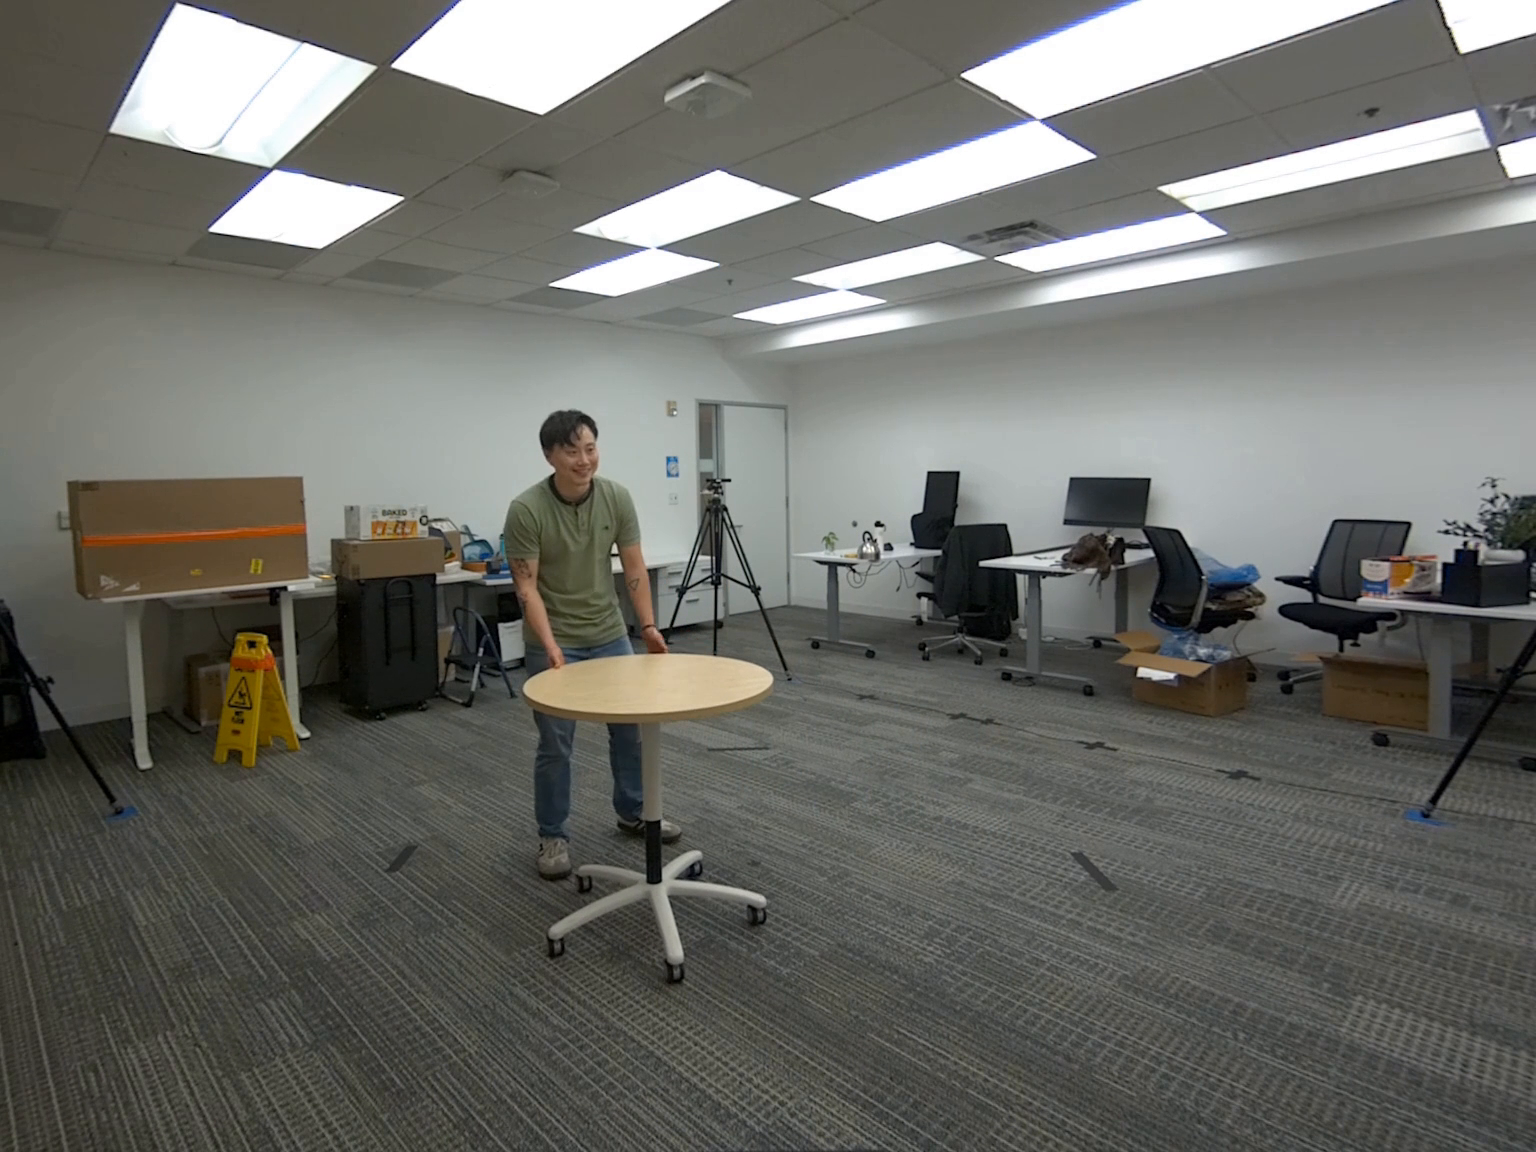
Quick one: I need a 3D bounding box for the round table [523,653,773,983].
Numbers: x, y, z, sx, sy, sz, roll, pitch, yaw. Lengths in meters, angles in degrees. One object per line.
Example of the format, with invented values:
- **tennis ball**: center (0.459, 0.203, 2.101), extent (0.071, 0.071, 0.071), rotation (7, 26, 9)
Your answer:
- **round table**: center (-0.360, 0.712, 2.671), extent (0.763, 0.791, 0.768), rotation (-1, 5, -2)
